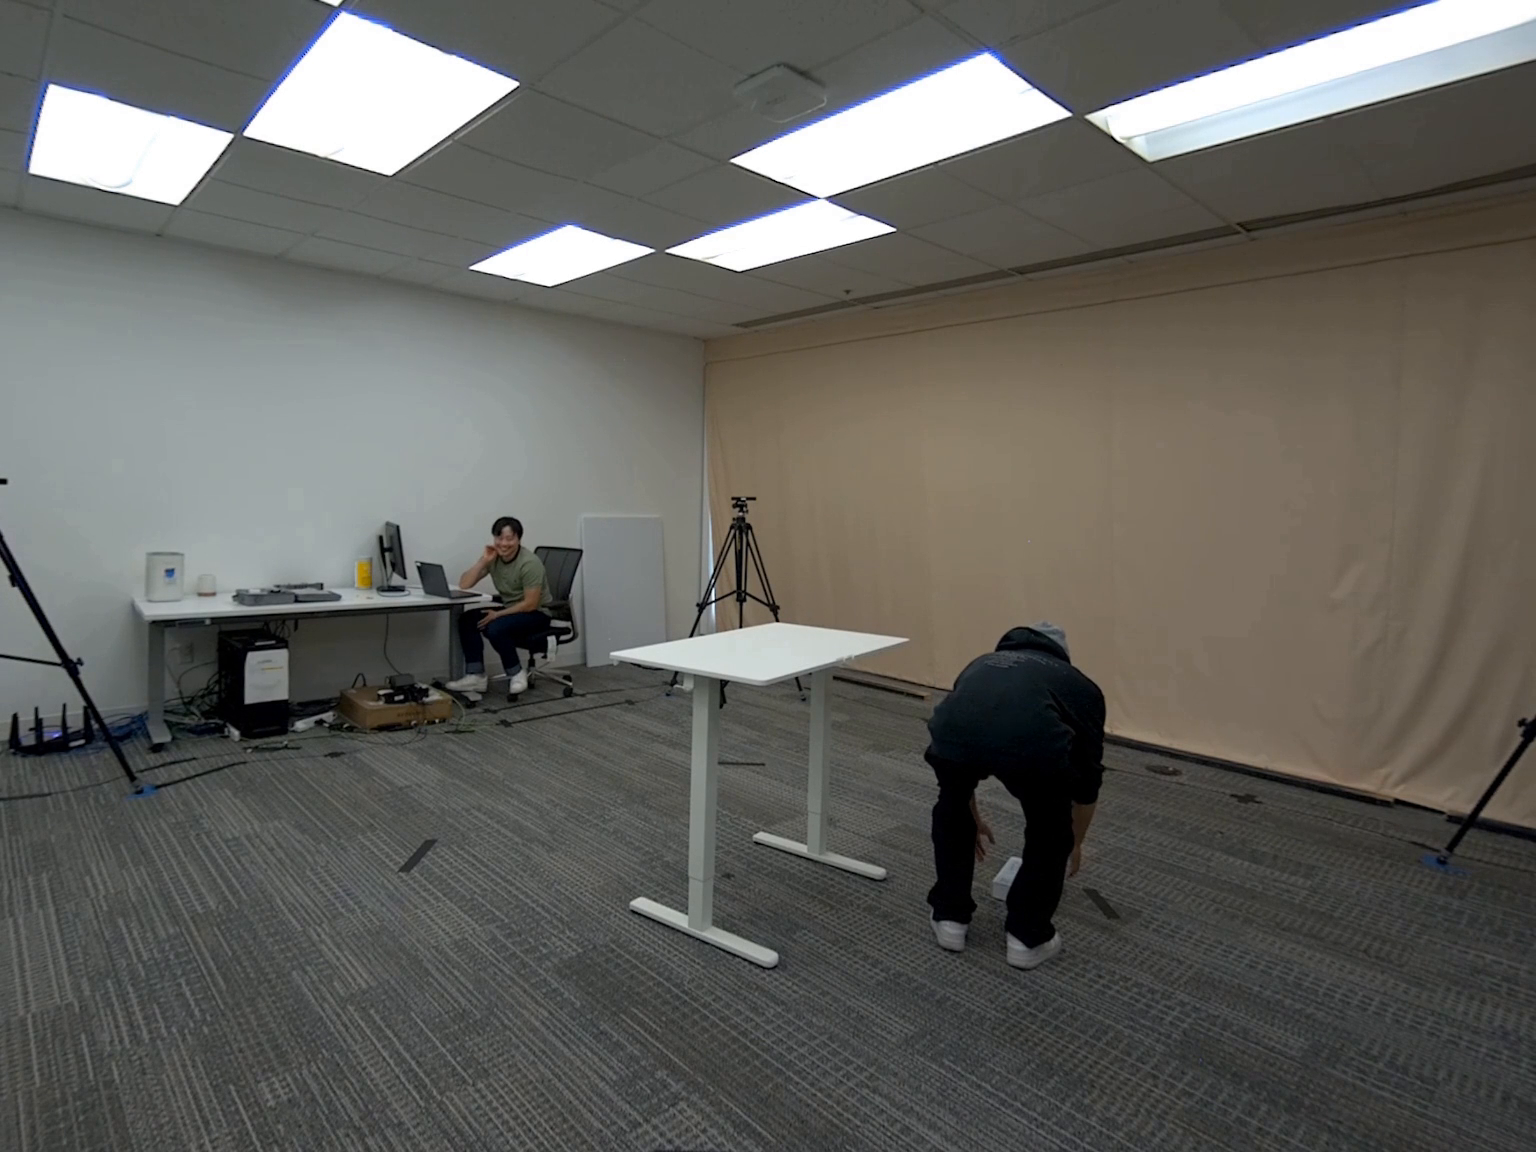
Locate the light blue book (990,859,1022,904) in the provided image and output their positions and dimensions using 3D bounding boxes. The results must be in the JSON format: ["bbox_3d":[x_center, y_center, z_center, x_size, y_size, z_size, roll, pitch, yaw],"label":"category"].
[{"bbox_3d":[0.937,1.115,3.049,0.196,0.059,0.256,5,6,32],"label":"light blue book"}]
